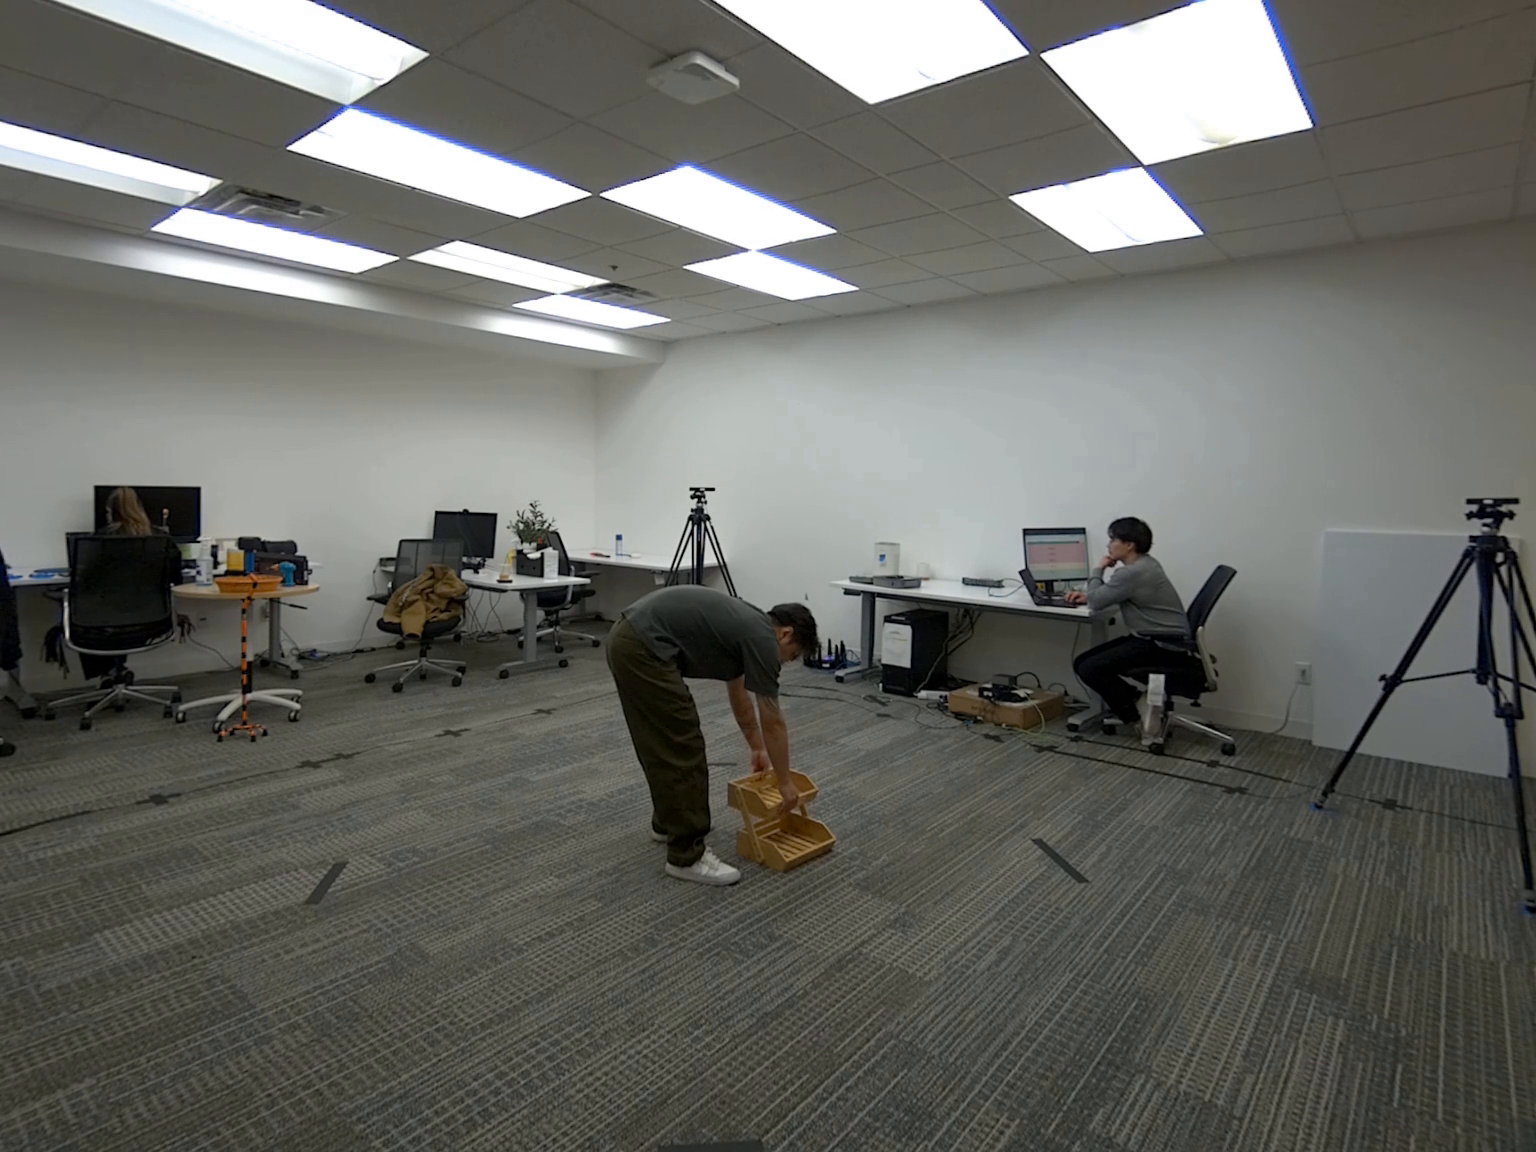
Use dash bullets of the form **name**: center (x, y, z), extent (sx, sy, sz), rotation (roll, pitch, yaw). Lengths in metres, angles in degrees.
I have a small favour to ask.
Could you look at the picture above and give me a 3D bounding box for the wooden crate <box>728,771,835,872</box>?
- **wooden crate**: center (0.049, 0.919, 3.279), extent (0.312, 0.272, 0.315), rotation (4, 5, 42)
